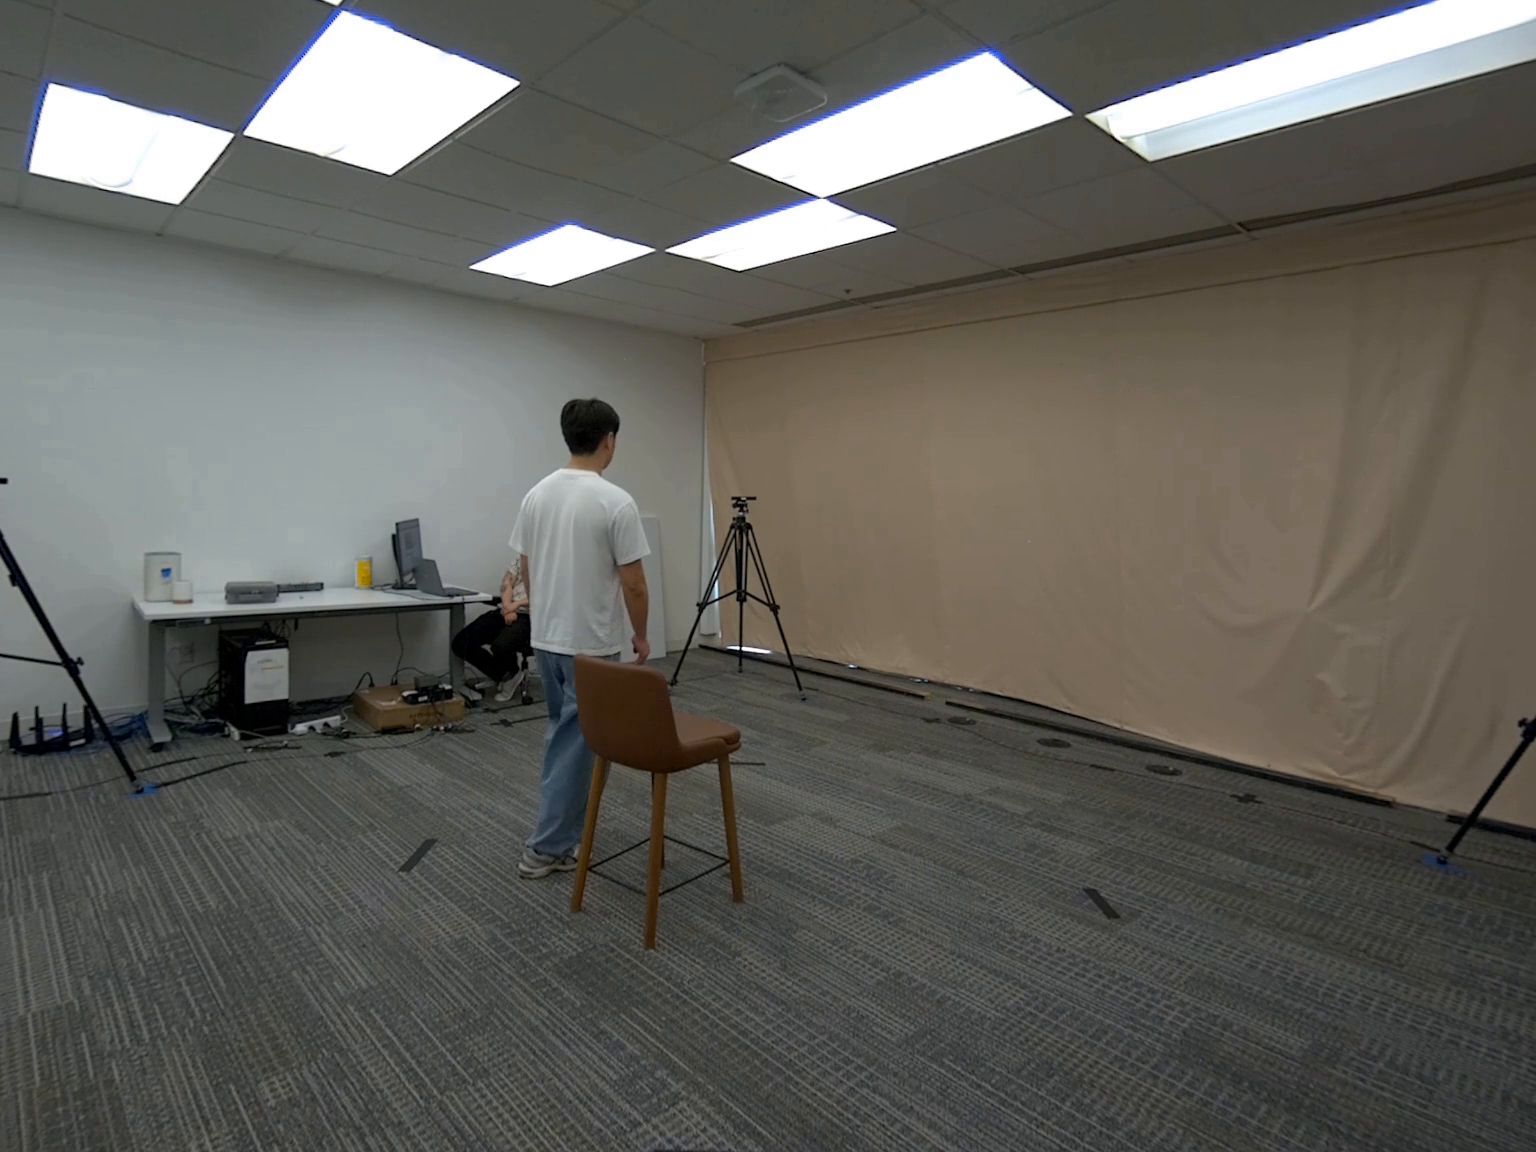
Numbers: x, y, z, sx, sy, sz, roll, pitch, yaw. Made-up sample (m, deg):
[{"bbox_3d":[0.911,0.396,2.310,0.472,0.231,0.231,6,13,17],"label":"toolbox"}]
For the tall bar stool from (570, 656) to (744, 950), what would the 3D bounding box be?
[{"bbox_3d":[-0.377,0.689,2.841,0.468,0.886,0.458,4,6,39],"label":"tall bar stool"}]
